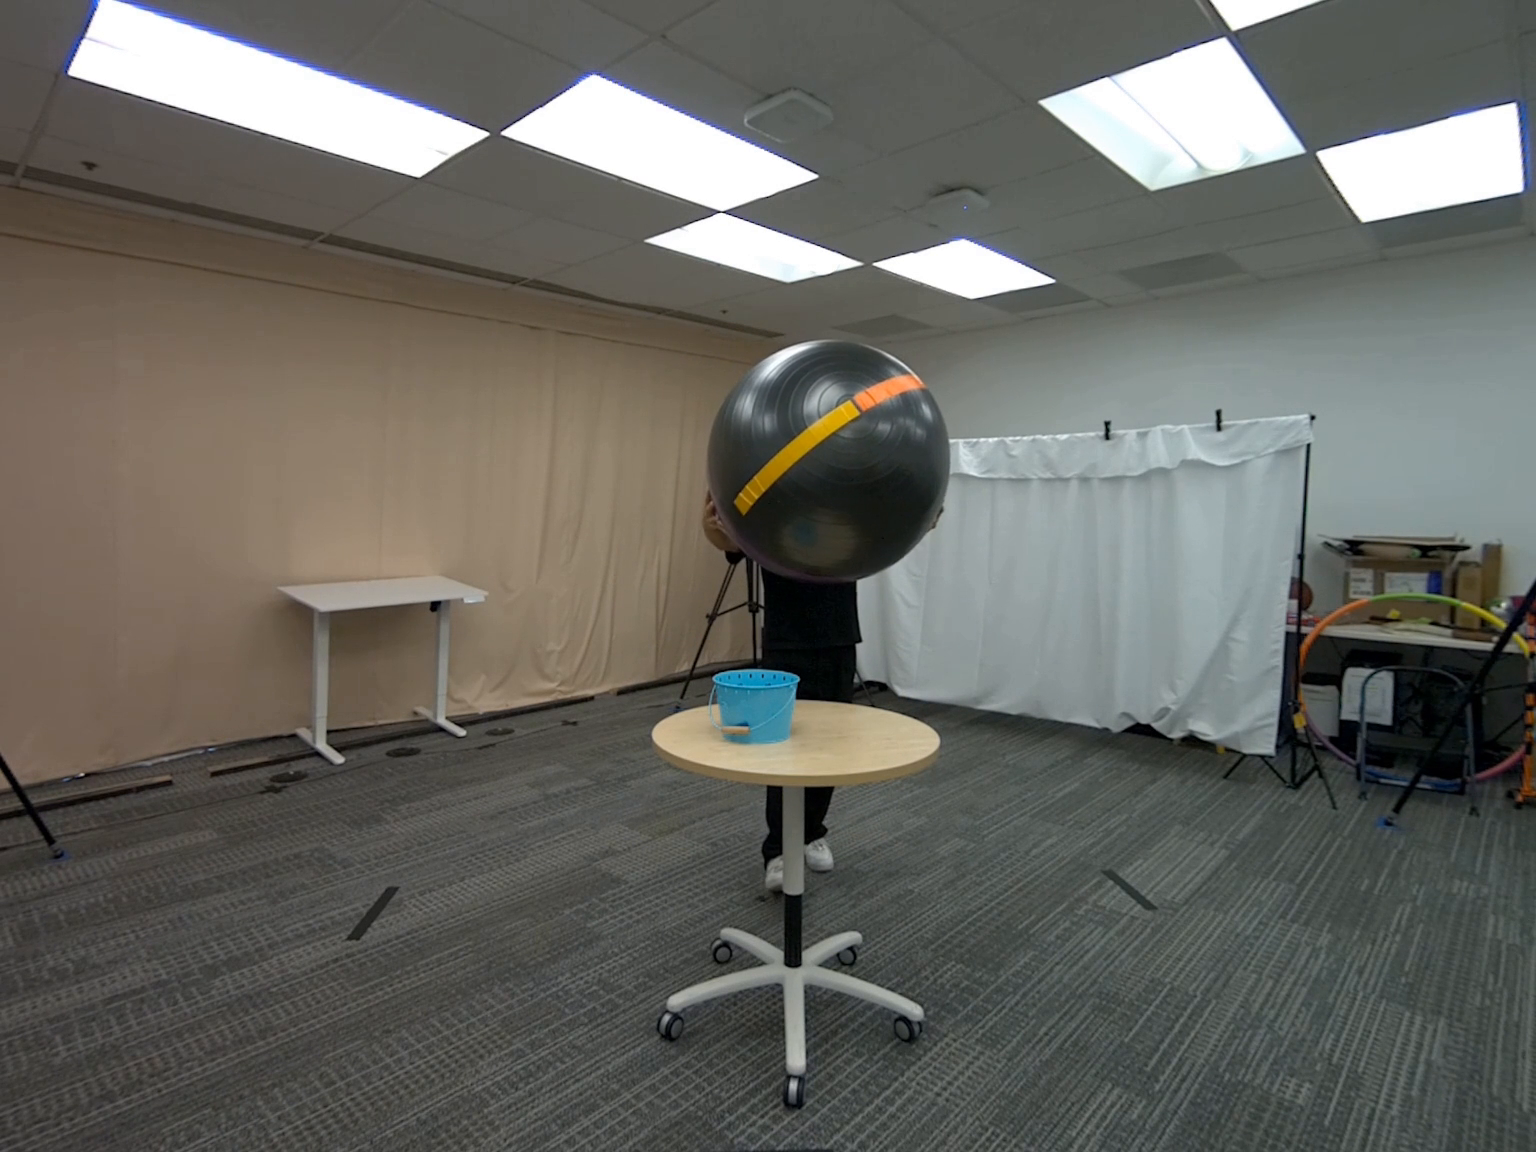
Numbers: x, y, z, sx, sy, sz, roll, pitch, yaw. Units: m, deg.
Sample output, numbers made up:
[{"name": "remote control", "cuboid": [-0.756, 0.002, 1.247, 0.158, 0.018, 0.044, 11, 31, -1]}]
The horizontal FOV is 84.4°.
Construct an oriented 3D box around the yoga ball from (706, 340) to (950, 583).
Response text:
[{"name": "yoga ball", "cuboid": [0.188, -0.348, 2.649, 0.757, 0.756, 0.760, 0, 4, -2]}]
